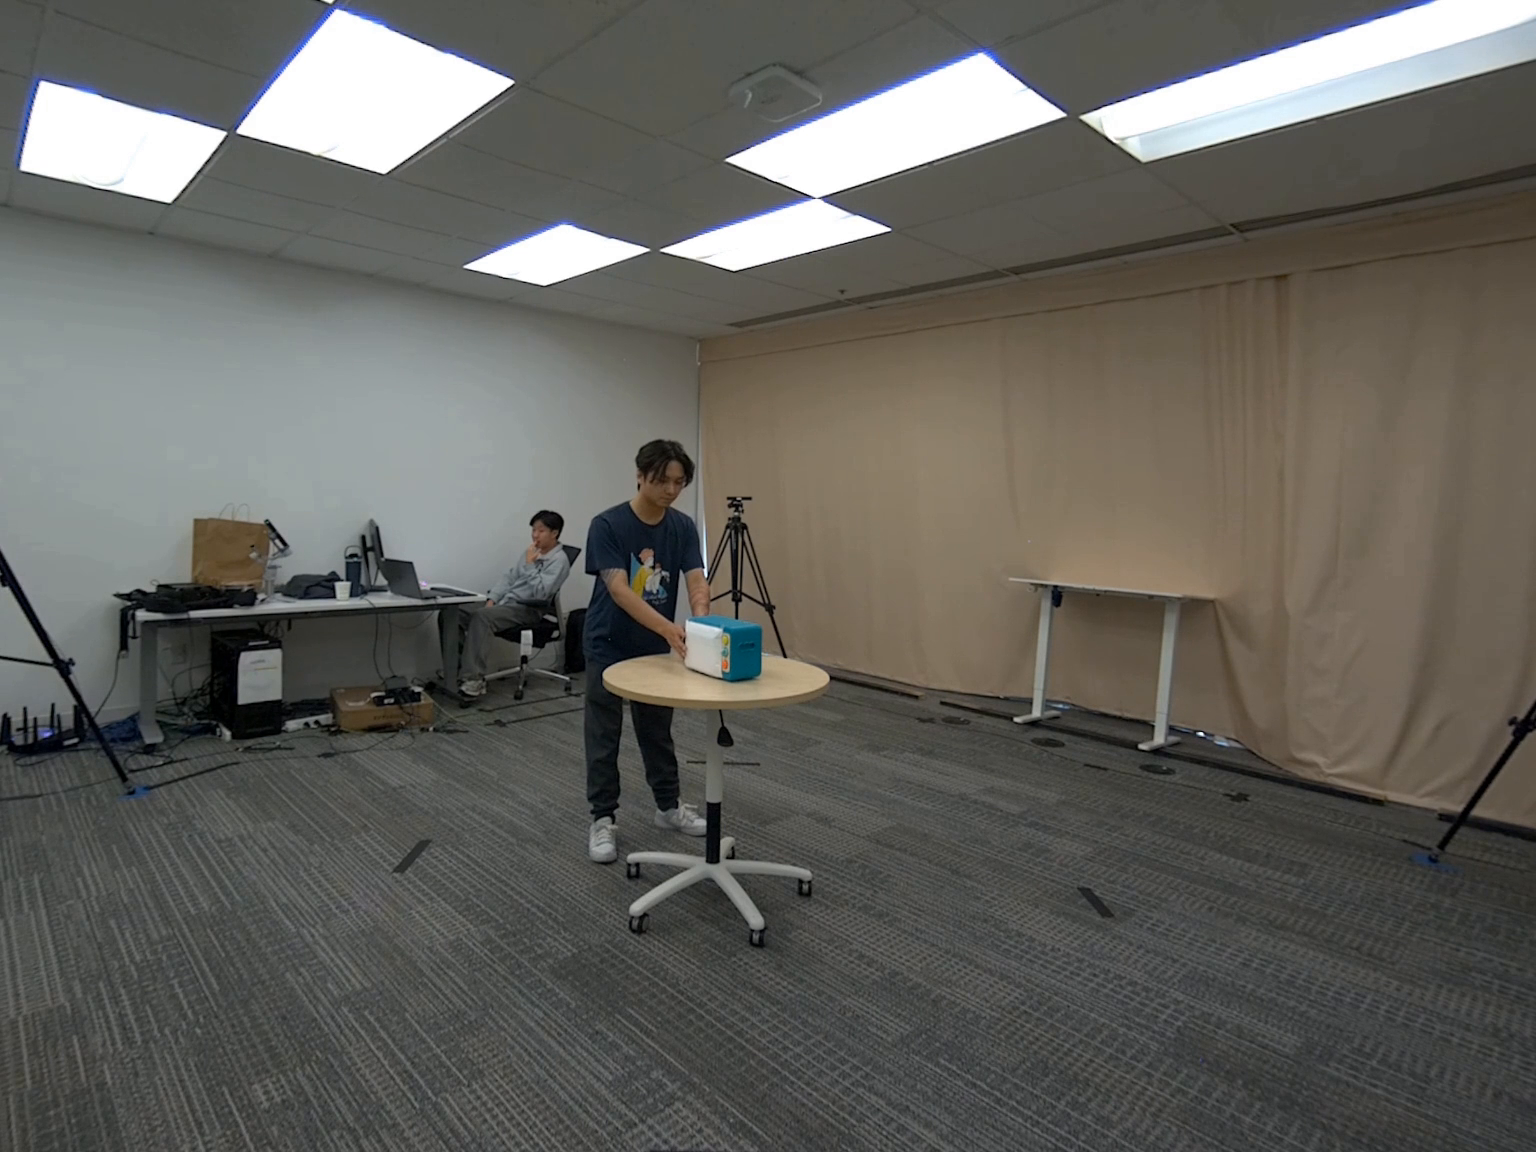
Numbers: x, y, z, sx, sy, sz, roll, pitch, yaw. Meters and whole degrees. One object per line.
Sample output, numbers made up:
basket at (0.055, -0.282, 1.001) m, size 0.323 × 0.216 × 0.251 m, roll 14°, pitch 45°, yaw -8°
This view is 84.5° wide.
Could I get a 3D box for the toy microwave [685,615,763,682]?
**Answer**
toy microwave at (-0.163, 0.245, 2.834) m, size 0.149 × 0.184 × 0.293 m, roll -2°, pitch 5°, yaw -37°
